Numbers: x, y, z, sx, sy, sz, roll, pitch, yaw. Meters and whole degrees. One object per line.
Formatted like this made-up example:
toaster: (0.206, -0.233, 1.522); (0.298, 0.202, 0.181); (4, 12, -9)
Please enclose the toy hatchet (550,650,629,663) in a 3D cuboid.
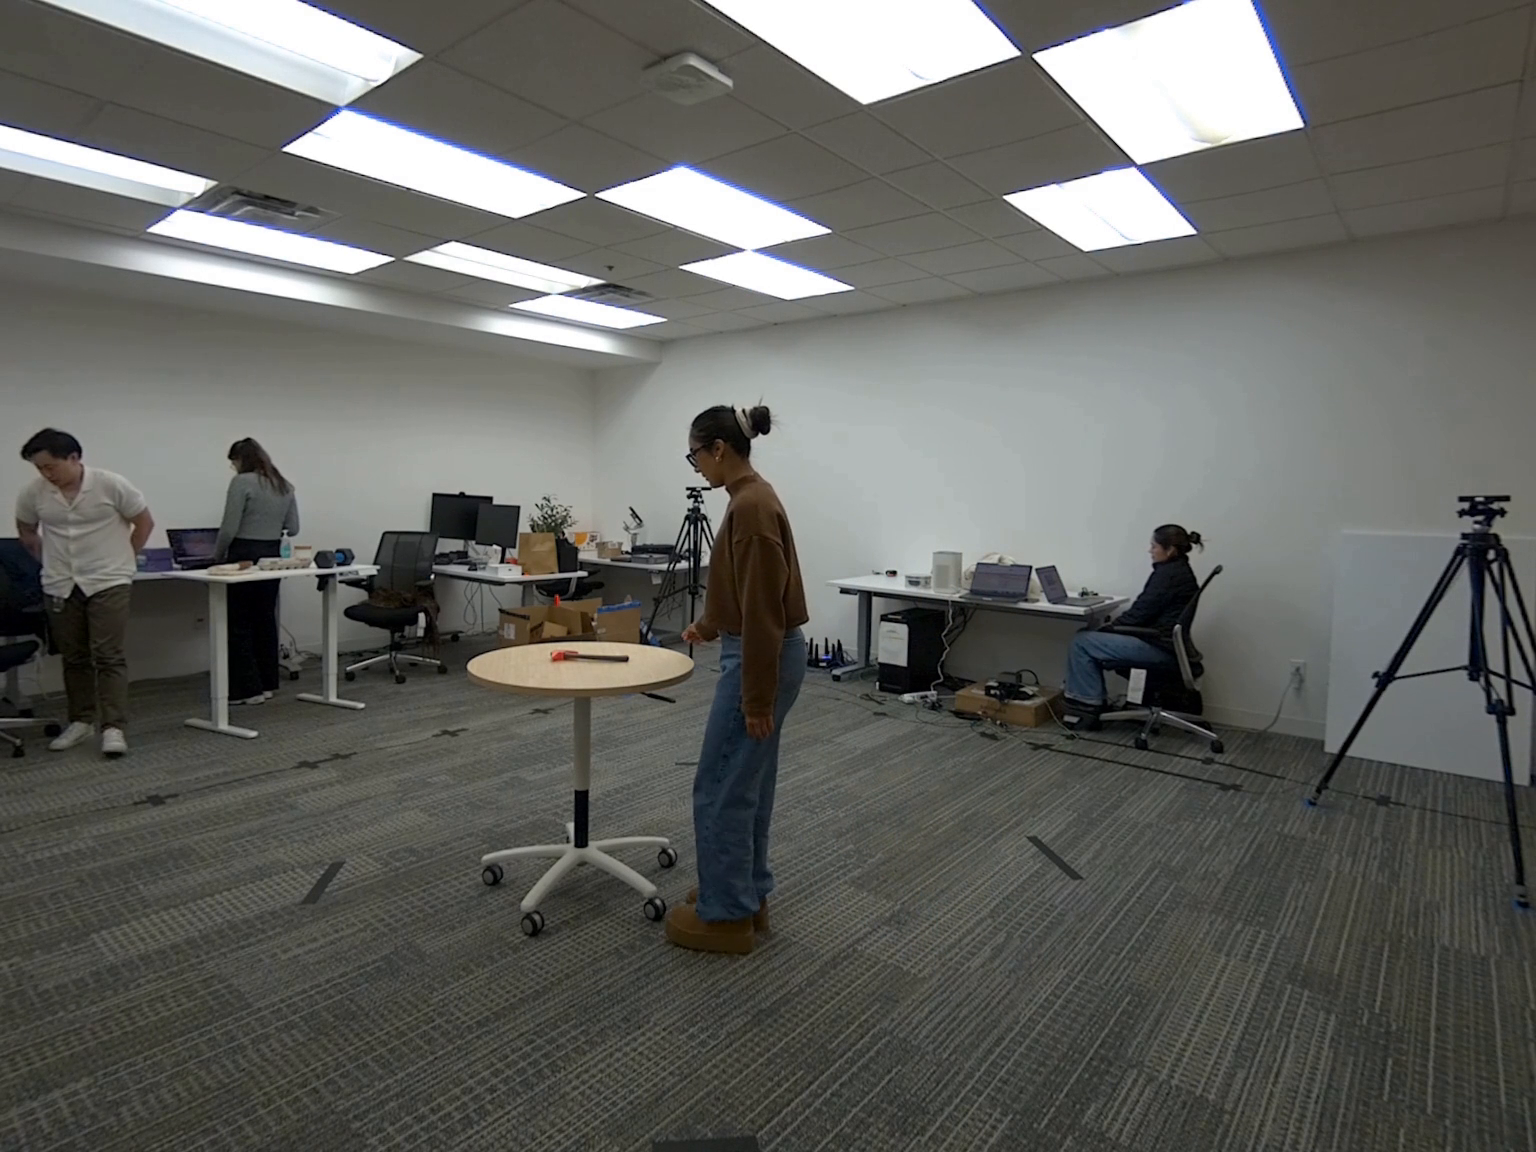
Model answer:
toy hatchet: (-0.640, 0.280, 2.991); (0.267, 0.029, 0.132); (2, 2, -9)
